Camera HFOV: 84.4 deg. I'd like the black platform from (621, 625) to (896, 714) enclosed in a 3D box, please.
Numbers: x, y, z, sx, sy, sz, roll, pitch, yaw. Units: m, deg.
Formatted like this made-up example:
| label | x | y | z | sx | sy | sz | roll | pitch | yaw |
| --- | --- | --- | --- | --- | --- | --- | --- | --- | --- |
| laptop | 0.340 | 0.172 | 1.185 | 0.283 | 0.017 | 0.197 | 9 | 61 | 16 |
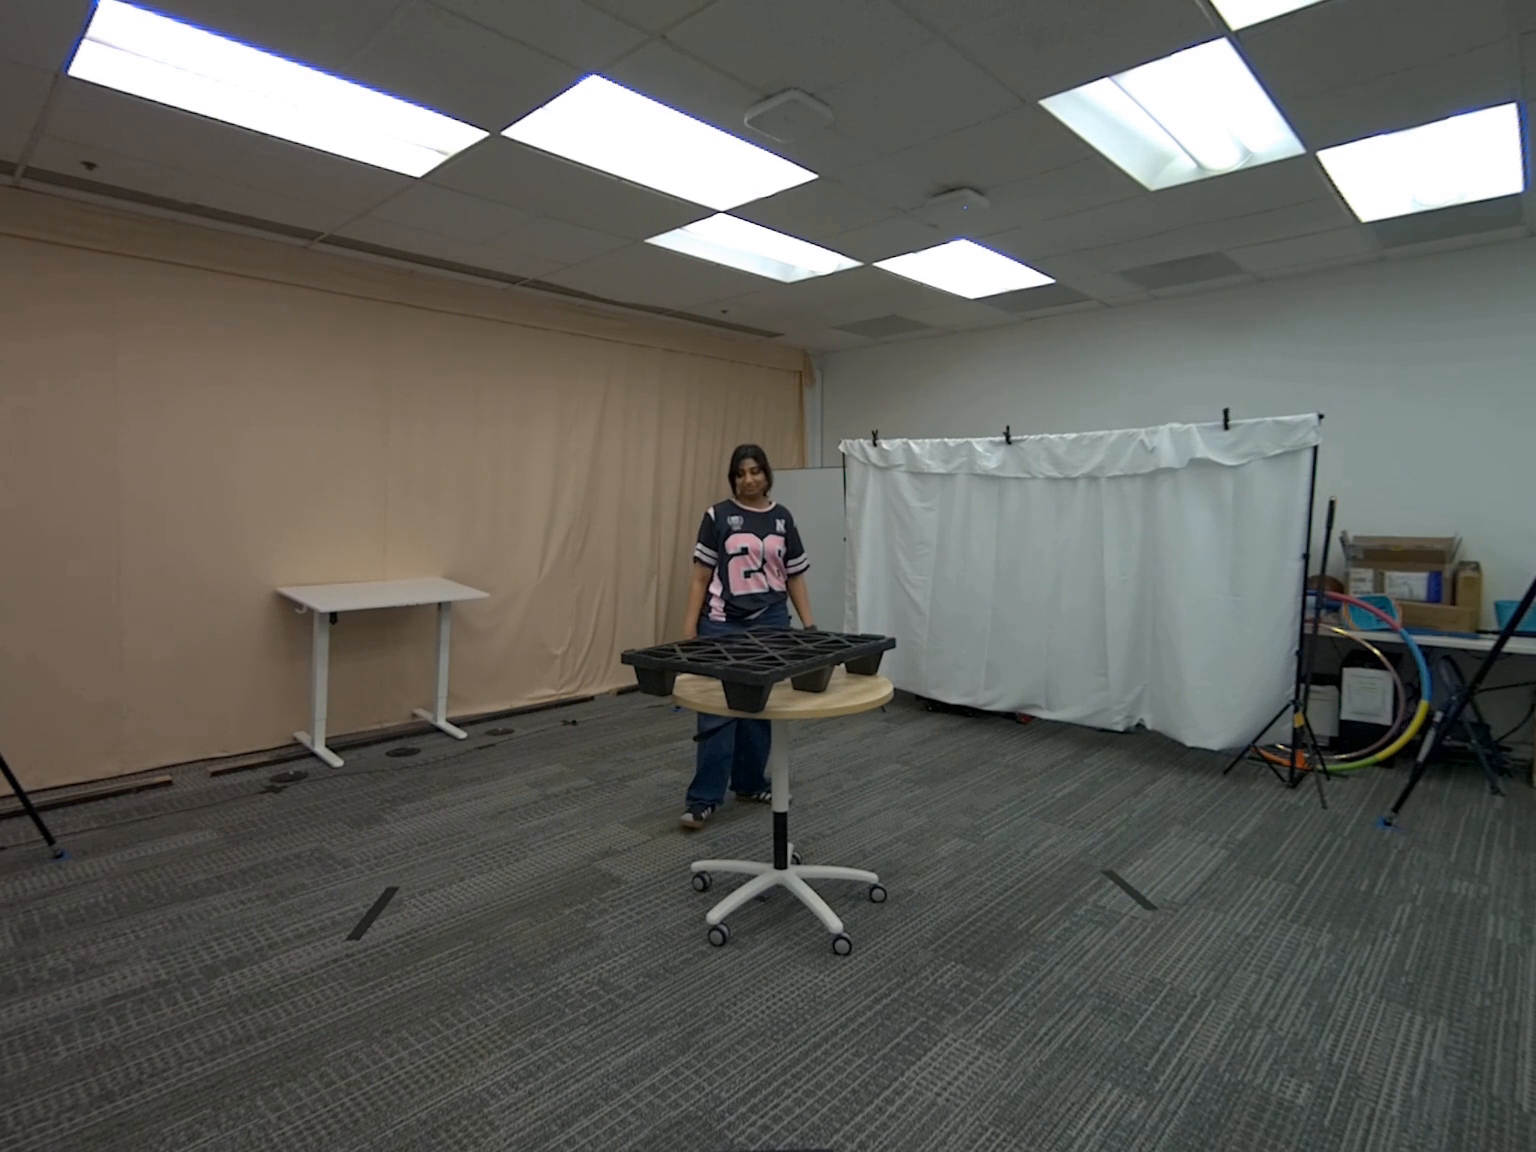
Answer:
| label | x | y | z | sx | sy | sz | roll | pitch | yaw |
| --- | --- | --- | --- | --- | --- | --- | --- | --- | --- |
| black platform | -0.018 | 0.305 | 2.884 | 0.625 | 0.143 | 0.781 | 2 | 5 | 38 |
